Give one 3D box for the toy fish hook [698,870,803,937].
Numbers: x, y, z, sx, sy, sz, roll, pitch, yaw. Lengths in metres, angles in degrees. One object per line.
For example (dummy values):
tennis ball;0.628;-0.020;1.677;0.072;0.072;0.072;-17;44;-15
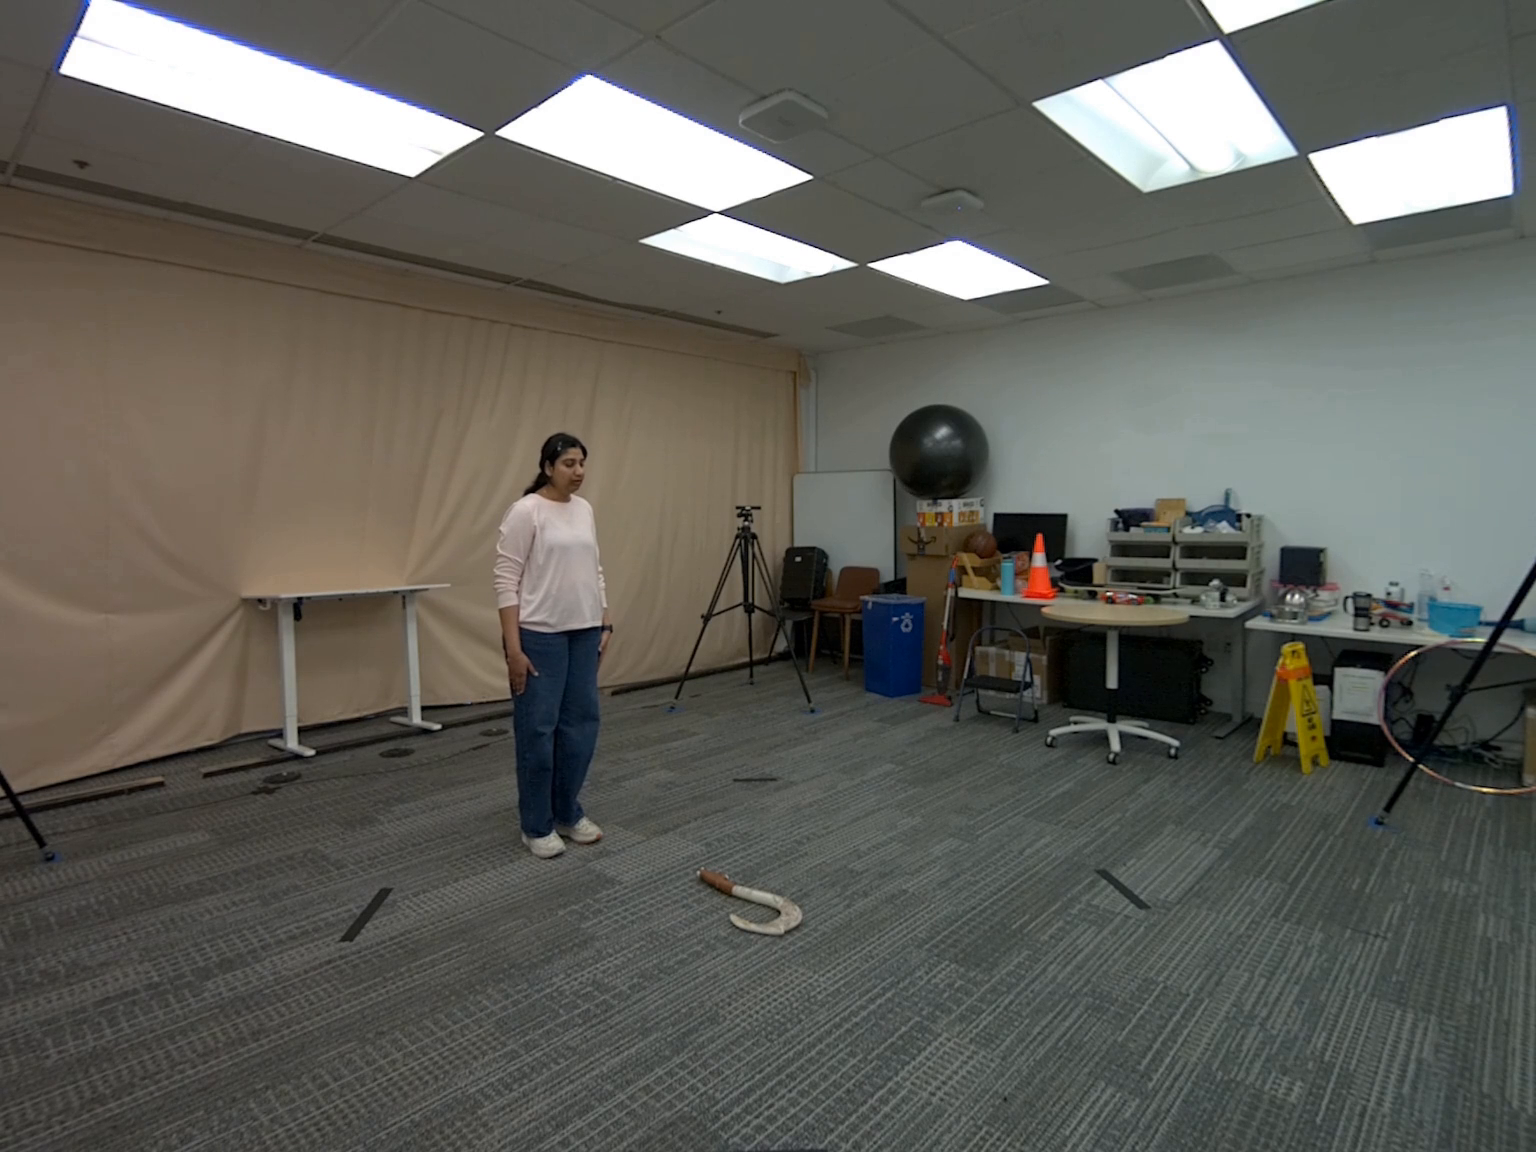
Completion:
toy fish hook;-0.105;1.127;2.927;0.523;0.048;0.217;4;5;45
